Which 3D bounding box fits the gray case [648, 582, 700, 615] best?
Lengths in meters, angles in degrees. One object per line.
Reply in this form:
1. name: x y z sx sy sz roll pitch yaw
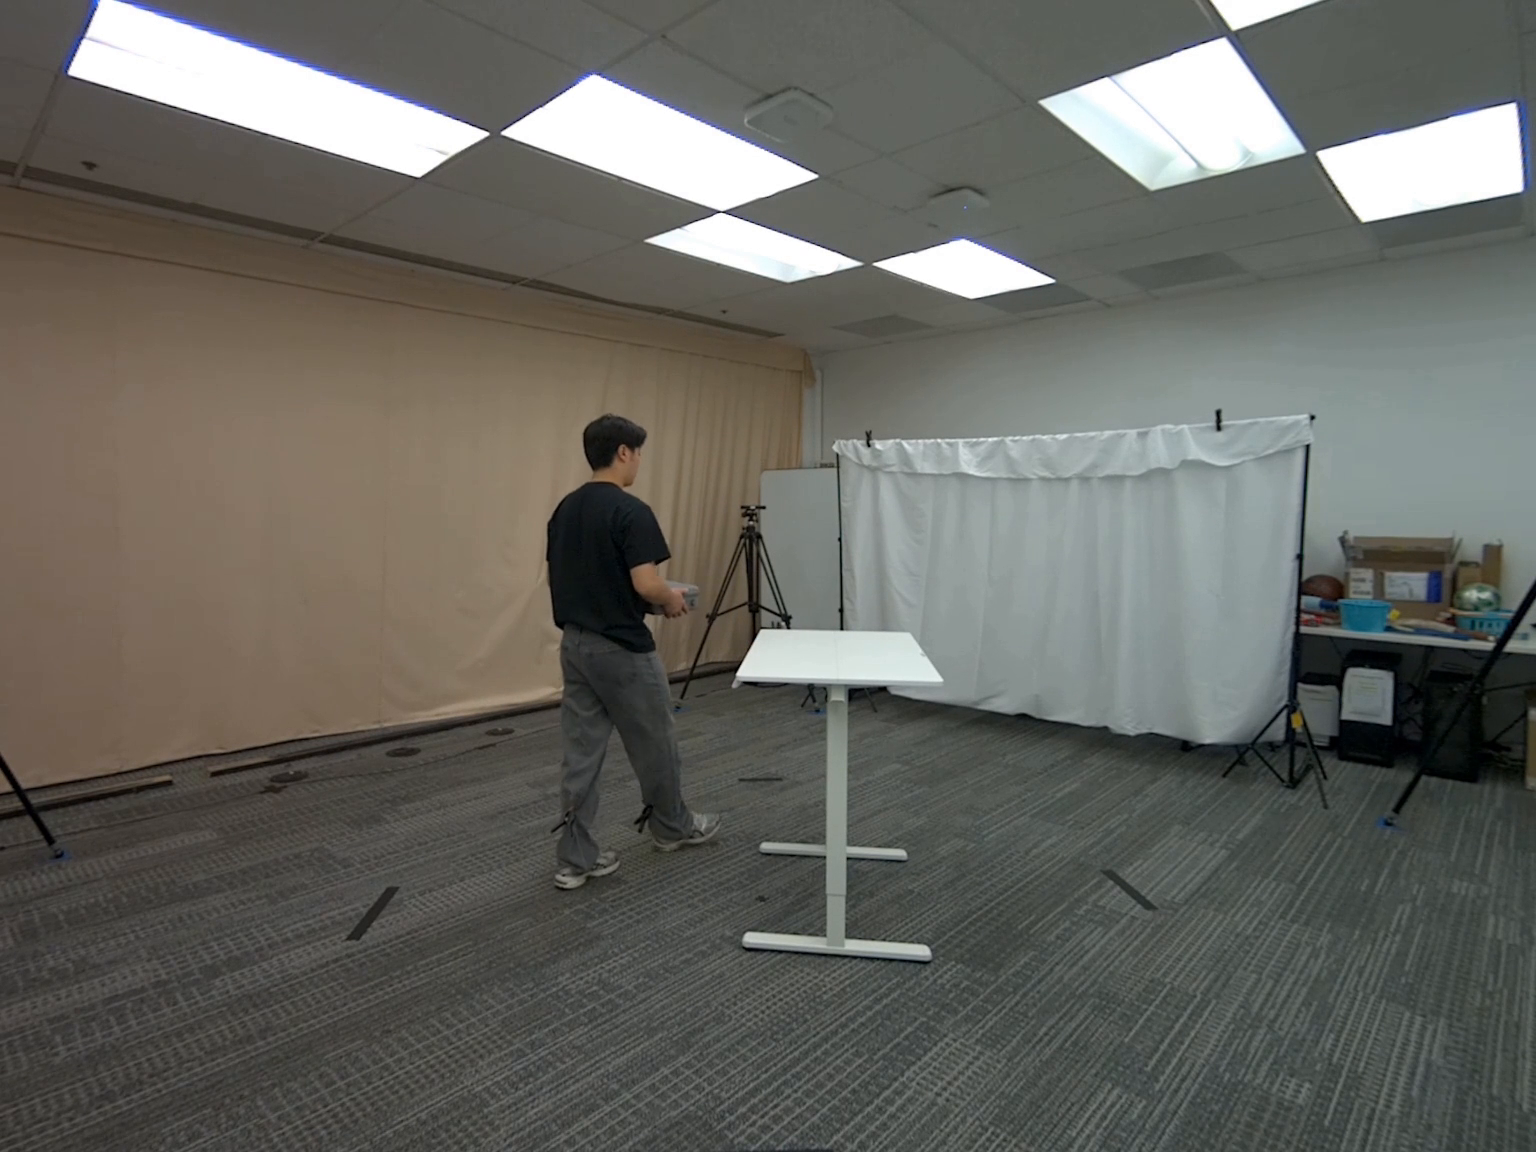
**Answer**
1. gray case: -0.434 0.084 3.414 0.272 0.102 0.278 9 10 43
